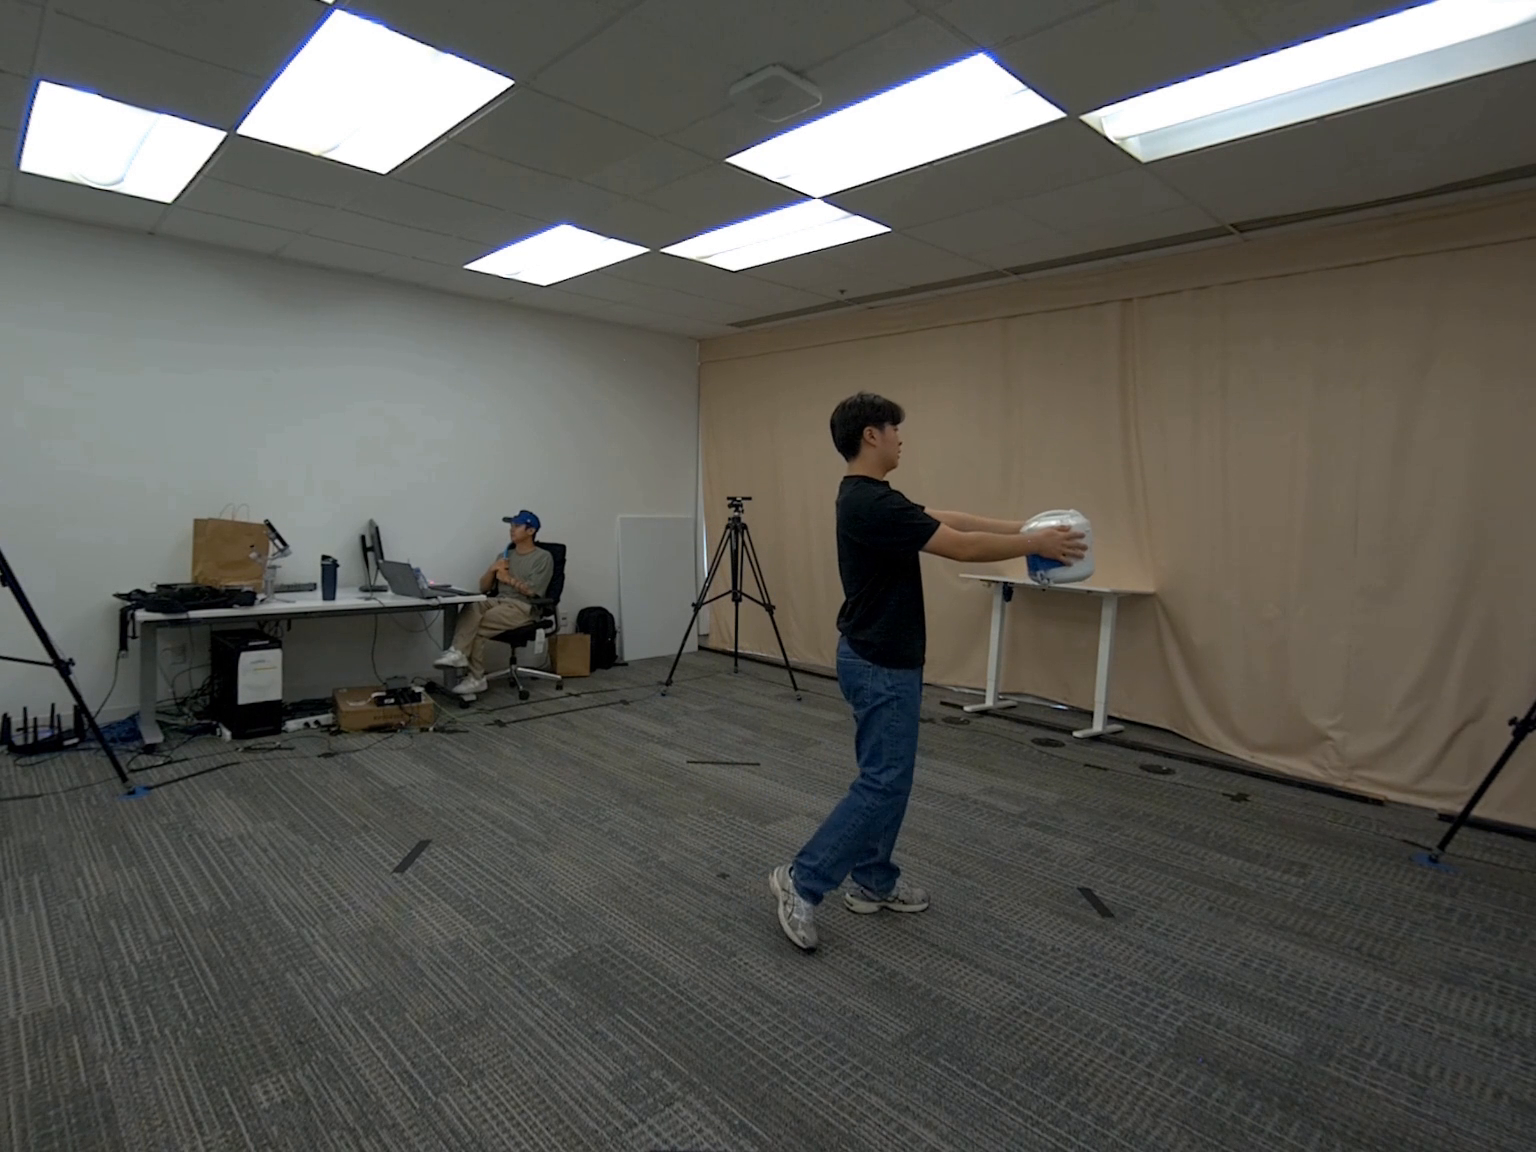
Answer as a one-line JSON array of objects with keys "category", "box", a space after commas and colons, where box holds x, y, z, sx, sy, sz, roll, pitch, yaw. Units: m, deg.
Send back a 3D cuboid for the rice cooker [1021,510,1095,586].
[{"category": "rice cooker", "box": [0.926, -0.098, 2.744, 0.222, 0.232, 0.217, -6, 5, 6]}]
